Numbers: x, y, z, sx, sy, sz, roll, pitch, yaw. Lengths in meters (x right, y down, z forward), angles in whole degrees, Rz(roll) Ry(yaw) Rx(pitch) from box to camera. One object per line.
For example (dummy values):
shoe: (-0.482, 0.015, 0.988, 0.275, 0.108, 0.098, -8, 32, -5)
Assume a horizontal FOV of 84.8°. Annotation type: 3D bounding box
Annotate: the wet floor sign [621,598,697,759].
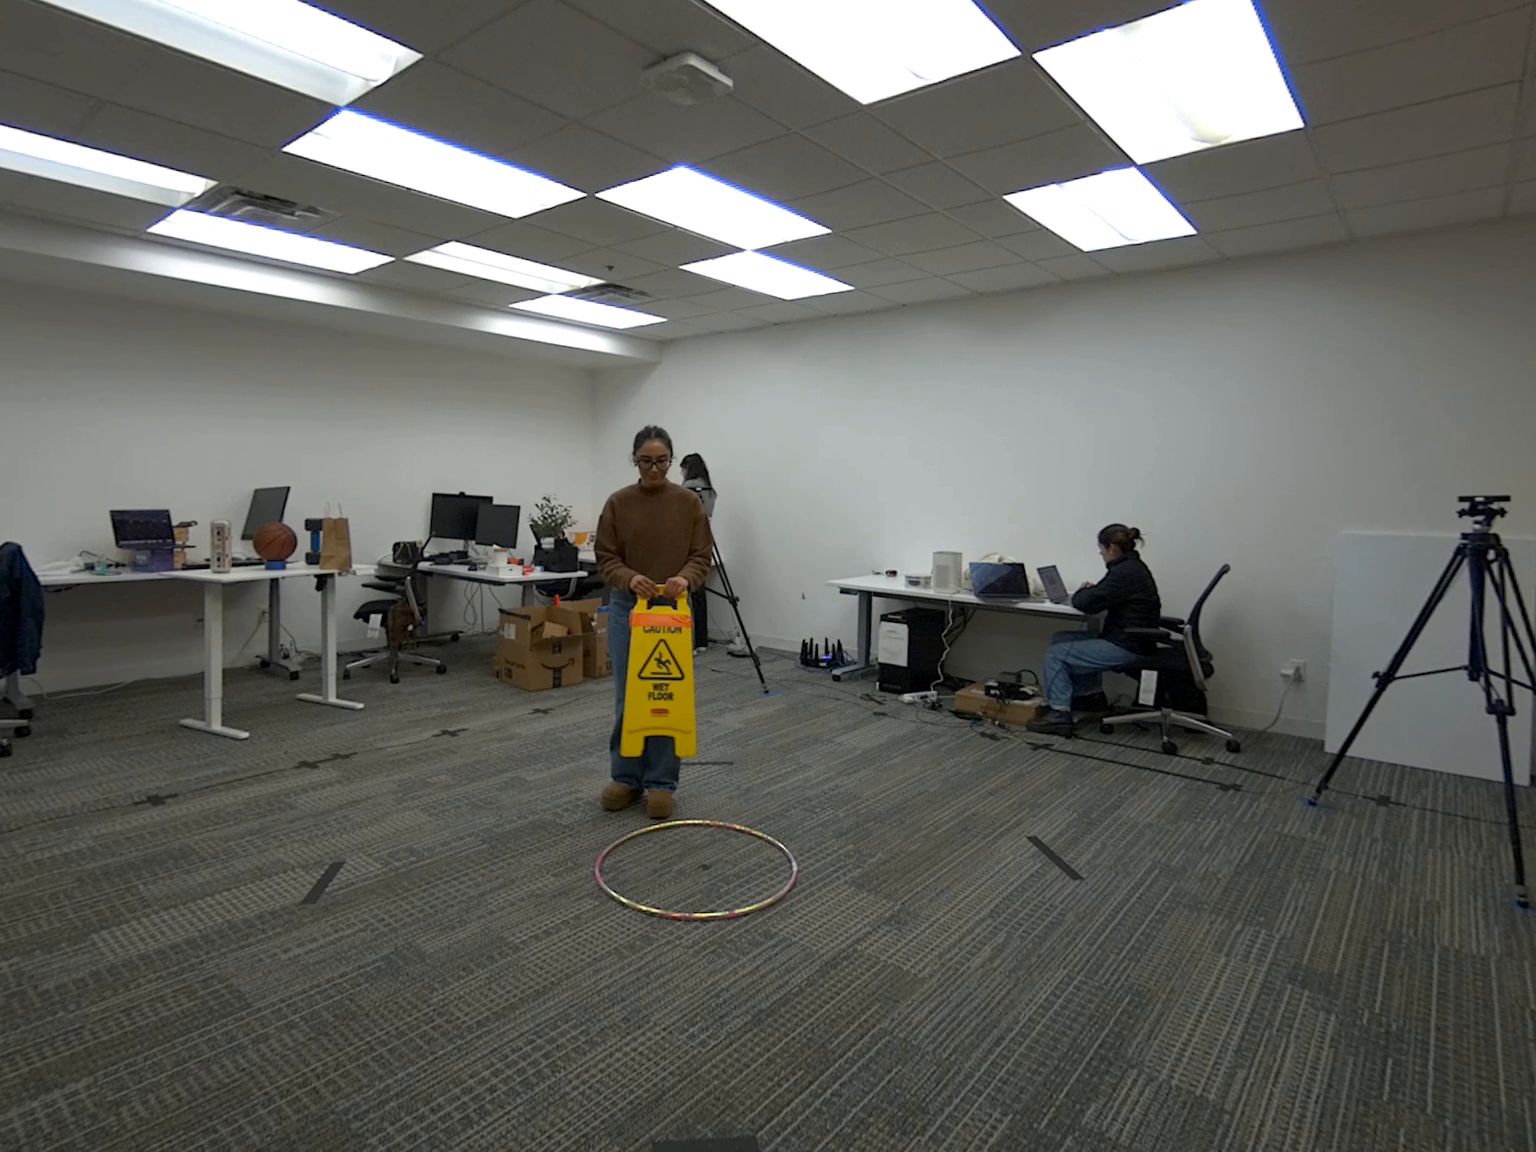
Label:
wet floor sign: (-0.435, 0.360, 3.336, 0.281, 0.652, 0.288, -1, -8, -4)
